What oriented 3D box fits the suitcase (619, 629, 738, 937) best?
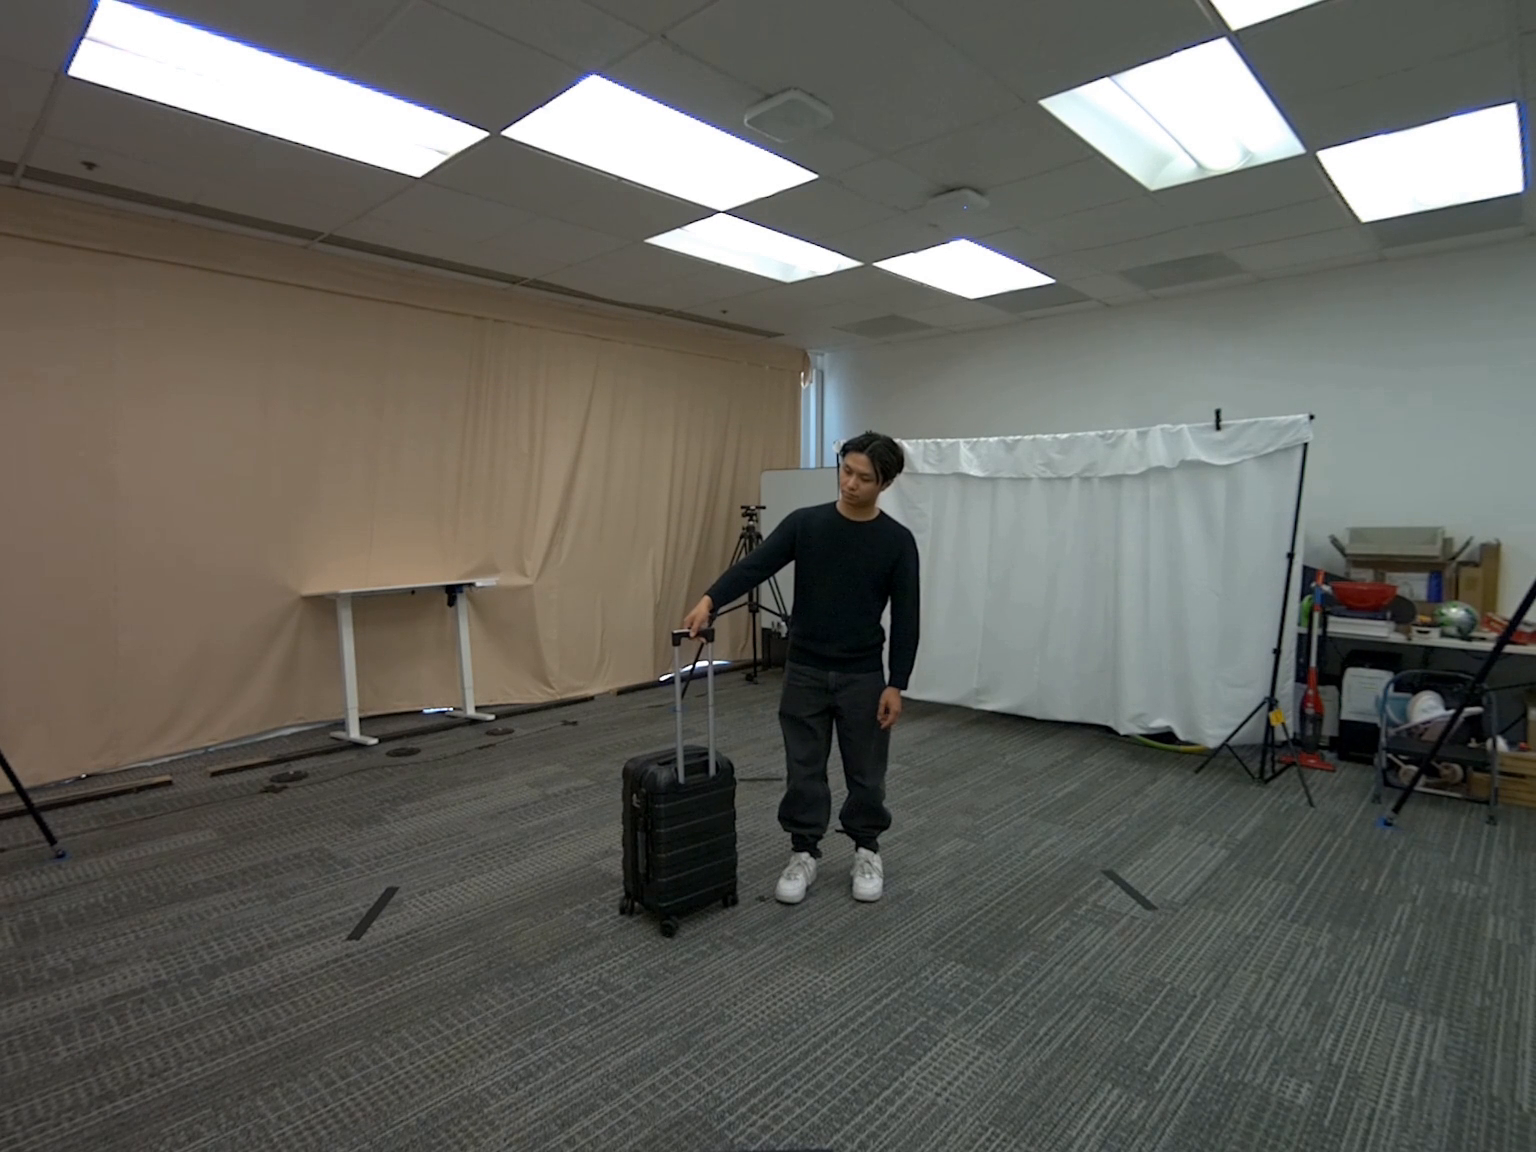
[{"bbox_3d":[-0.317,0.676,2.893,0.372,0.978,0.265,-2,0,-38],"label":"suitcase"}]
